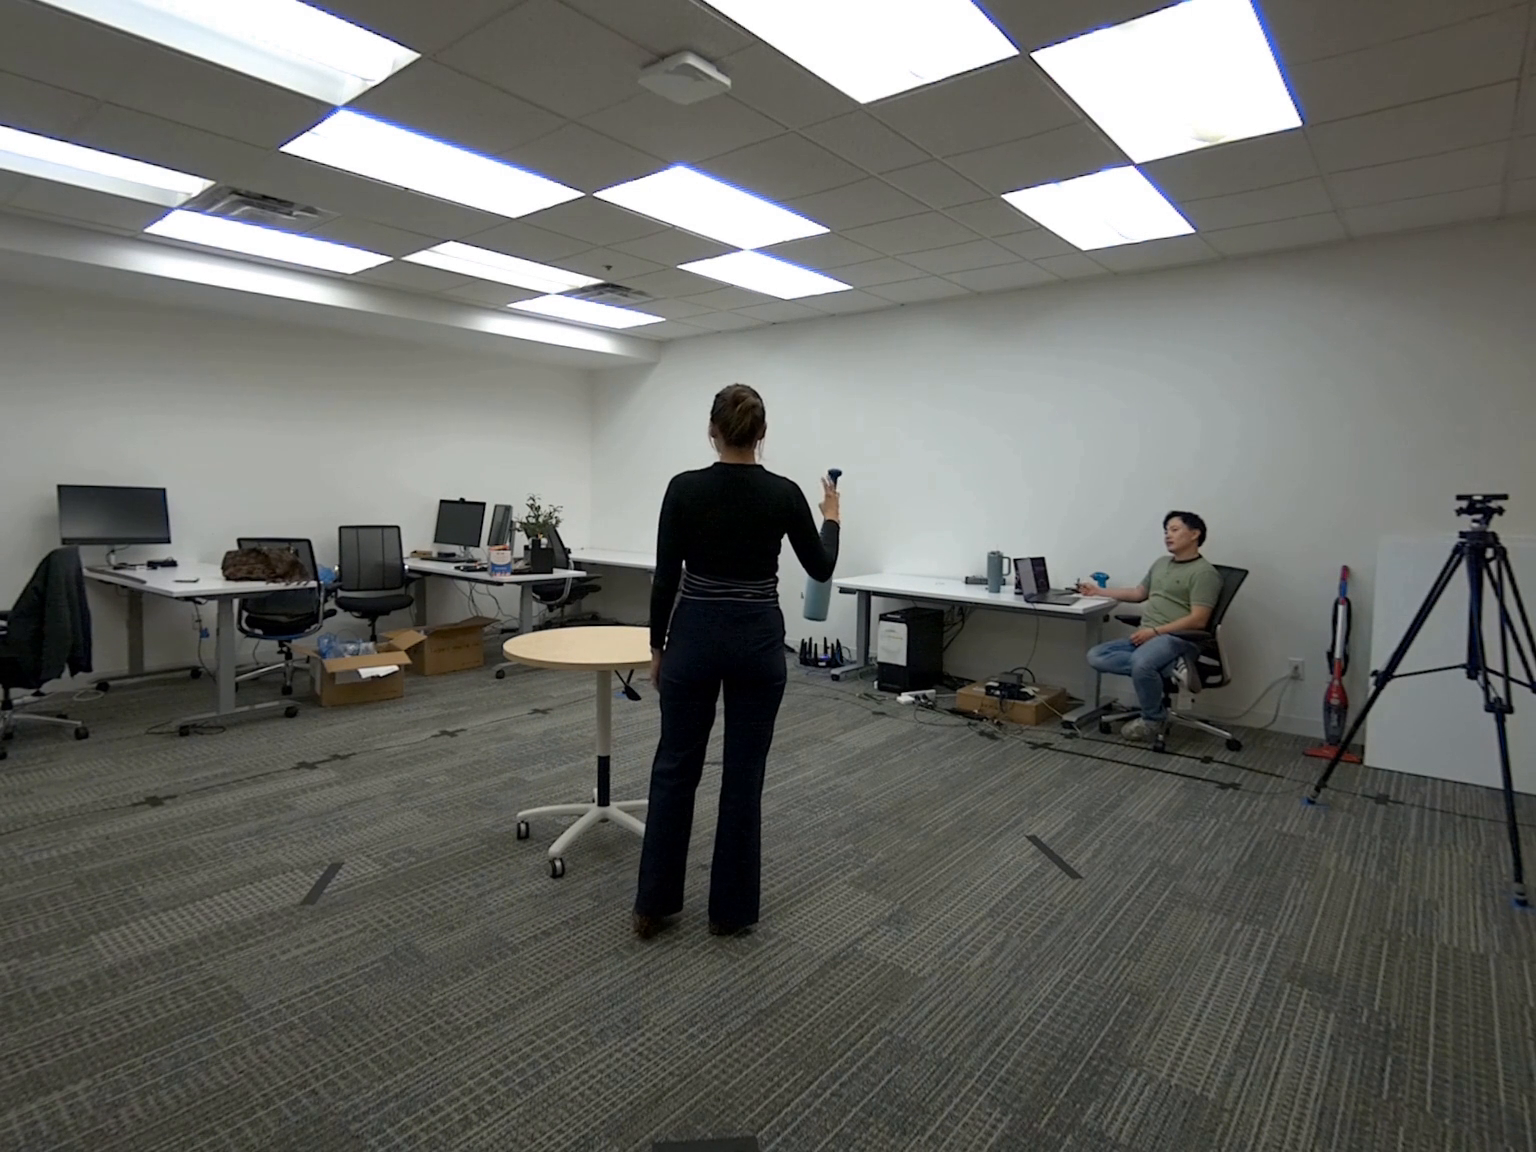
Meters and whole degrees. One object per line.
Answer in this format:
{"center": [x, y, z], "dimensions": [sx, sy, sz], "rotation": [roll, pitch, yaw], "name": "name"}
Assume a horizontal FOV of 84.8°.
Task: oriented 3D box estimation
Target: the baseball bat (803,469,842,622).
{"center": [0.196, -0.114, 3.002], "dimensions": [0.089, 0.544, 0.089], "rotation": [9, -2, -2], "name": "baseball bat"}
